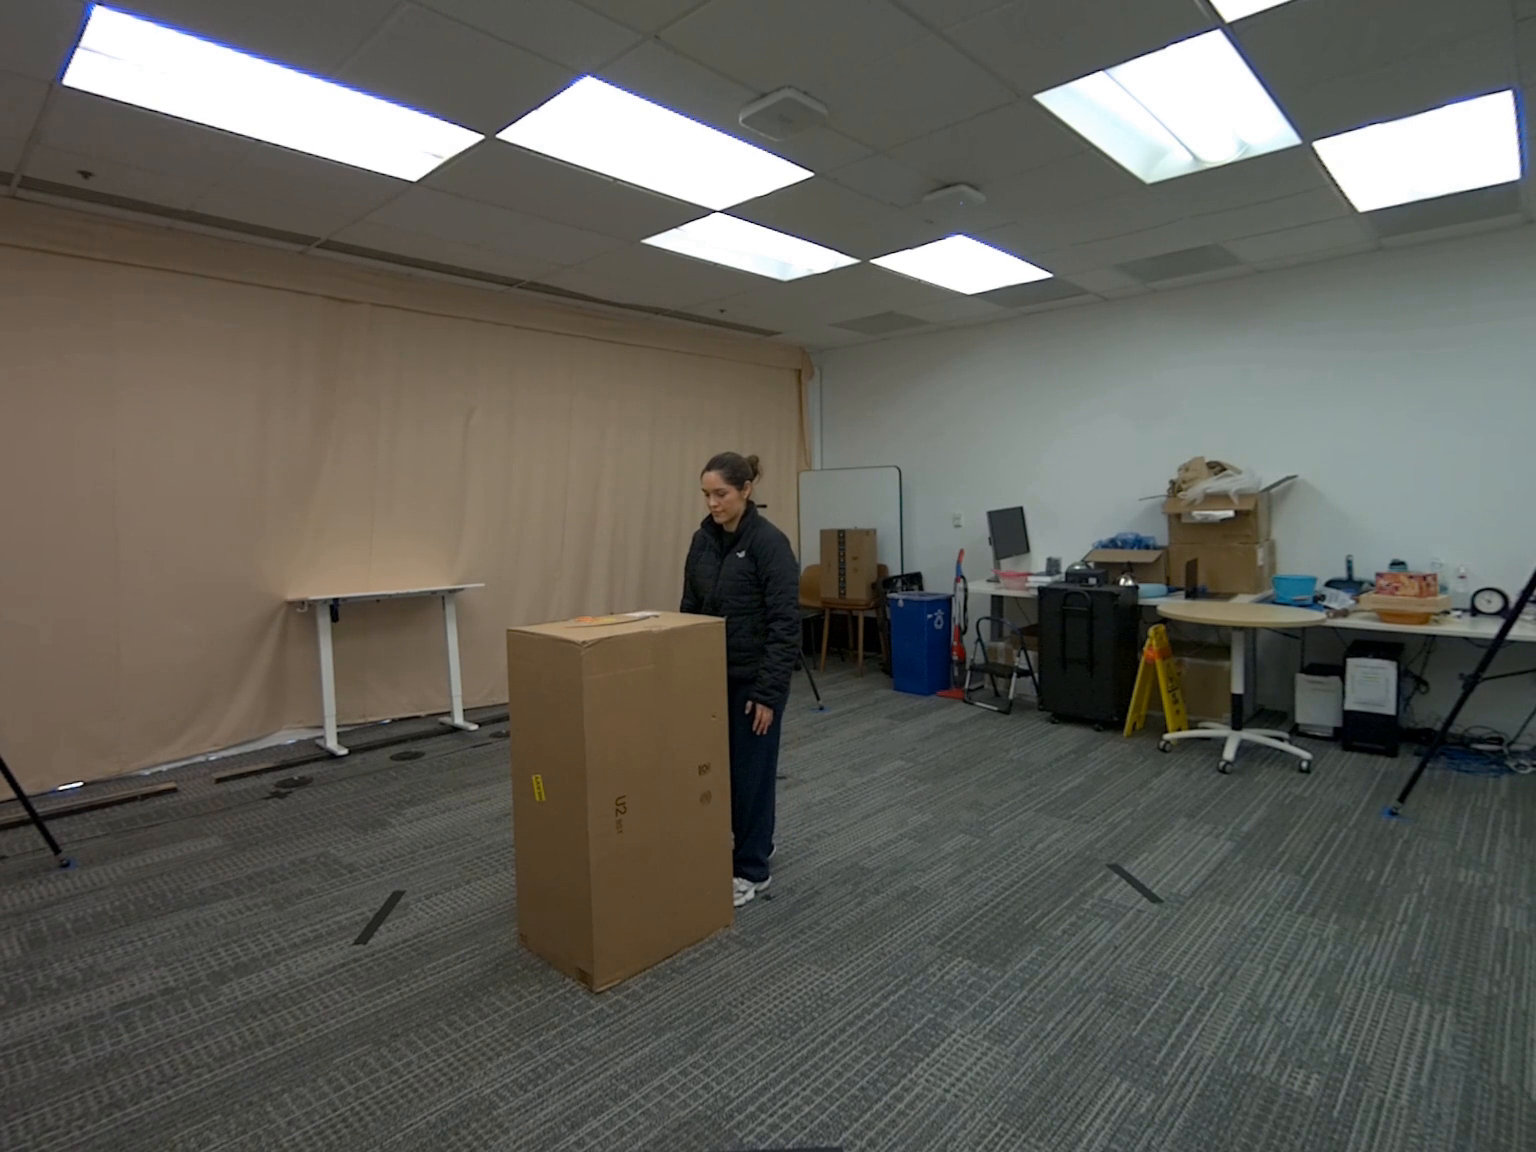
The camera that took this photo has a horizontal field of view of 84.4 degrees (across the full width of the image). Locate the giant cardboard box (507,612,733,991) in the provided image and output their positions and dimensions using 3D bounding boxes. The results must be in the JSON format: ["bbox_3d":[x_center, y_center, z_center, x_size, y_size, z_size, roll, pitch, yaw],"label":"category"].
[{"bbox_3d":[-0.463,0.664,2.728,0.440,1.024,0.560,2,4,44],"label":"giant cardboard box"}]
